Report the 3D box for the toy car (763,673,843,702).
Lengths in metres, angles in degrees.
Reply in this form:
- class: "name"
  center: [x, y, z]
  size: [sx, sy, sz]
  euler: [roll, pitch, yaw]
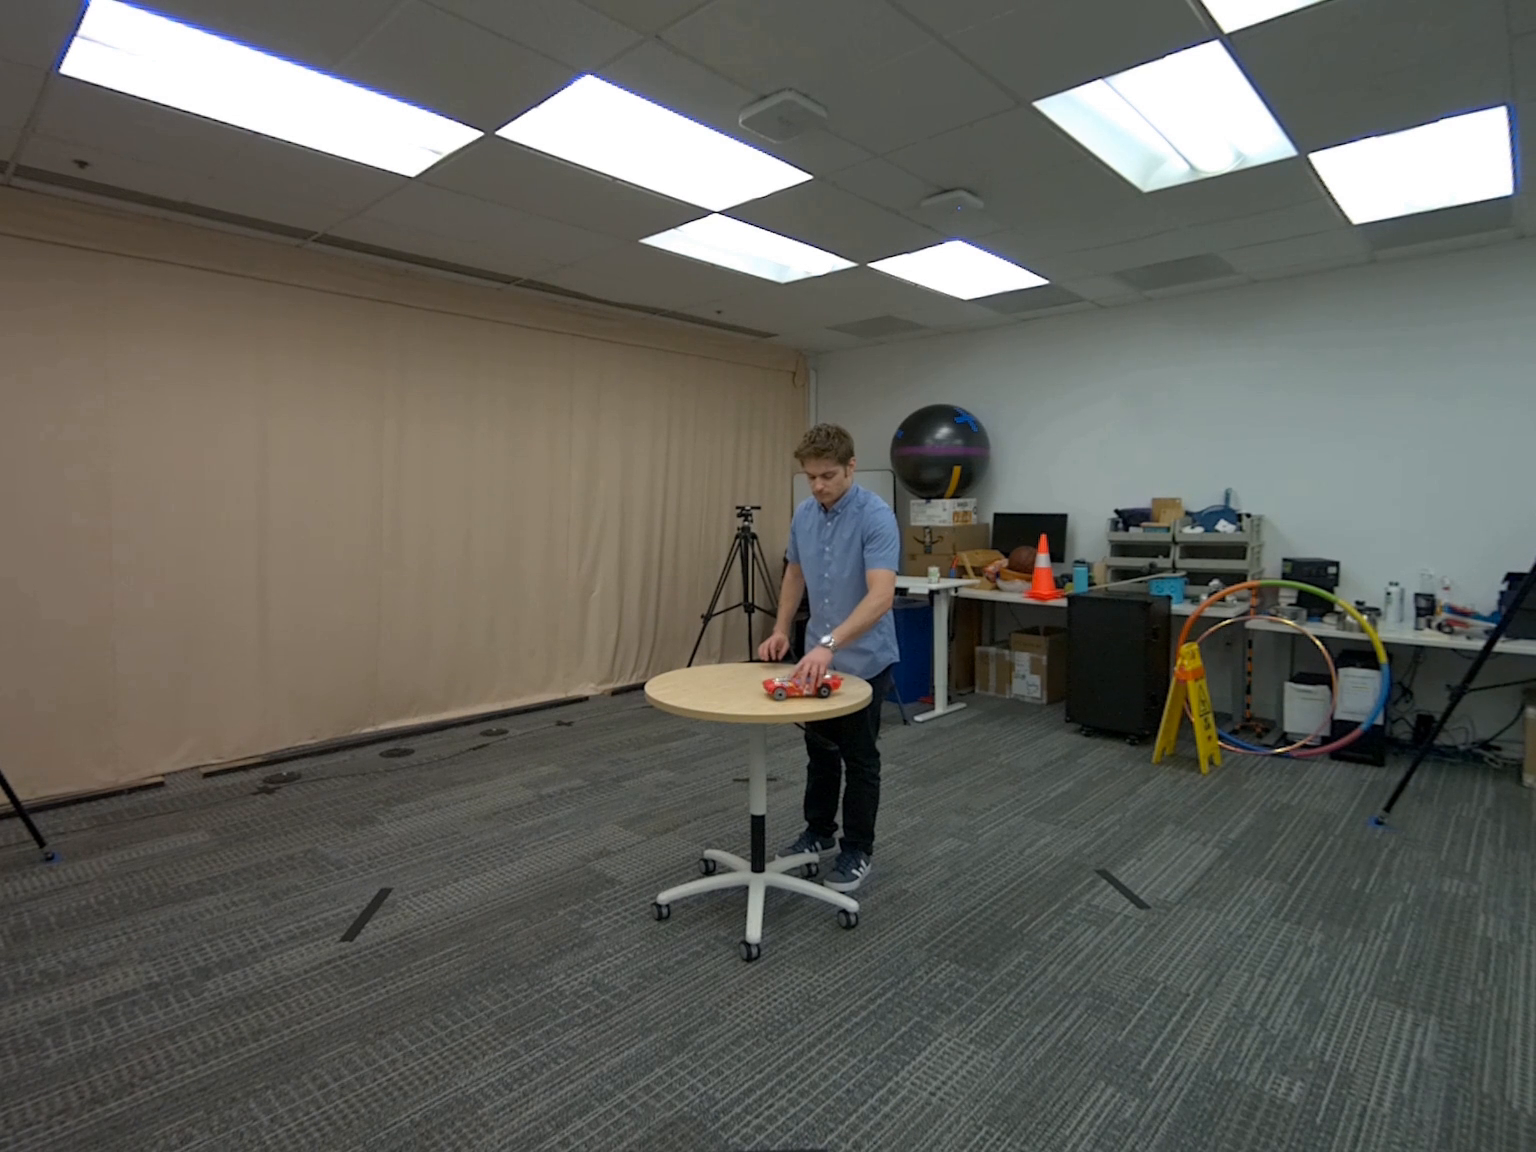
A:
- class: "toy car"
  center: [0.123, 0.352, 2.718]
  size: [0.252, 0.083, 0.132]
  euler: [-10, 8, -9]
